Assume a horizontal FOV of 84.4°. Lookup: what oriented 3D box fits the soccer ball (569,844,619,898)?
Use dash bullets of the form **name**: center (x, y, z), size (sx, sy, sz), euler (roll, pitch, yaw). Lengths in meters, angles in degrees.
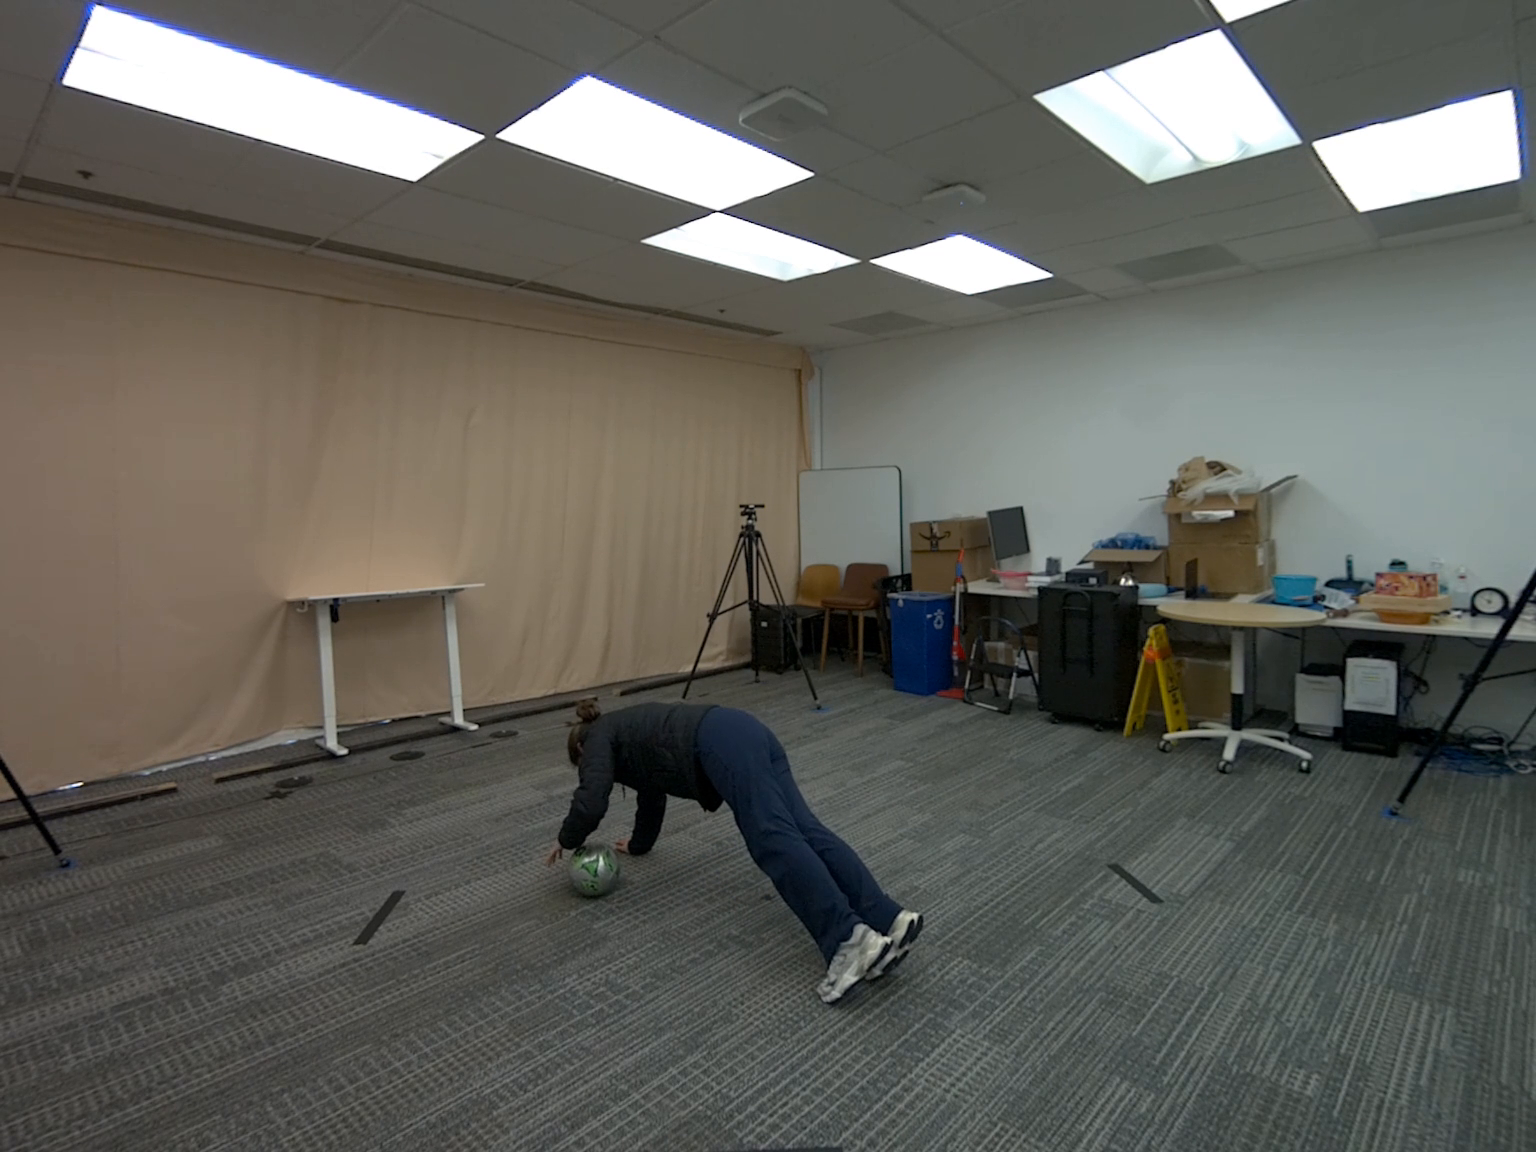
- **soccer ball**: center (-0.623, 1.056, 3.033), size (0.187, 0.187, 0.188), euler (-1, 4, -2)
